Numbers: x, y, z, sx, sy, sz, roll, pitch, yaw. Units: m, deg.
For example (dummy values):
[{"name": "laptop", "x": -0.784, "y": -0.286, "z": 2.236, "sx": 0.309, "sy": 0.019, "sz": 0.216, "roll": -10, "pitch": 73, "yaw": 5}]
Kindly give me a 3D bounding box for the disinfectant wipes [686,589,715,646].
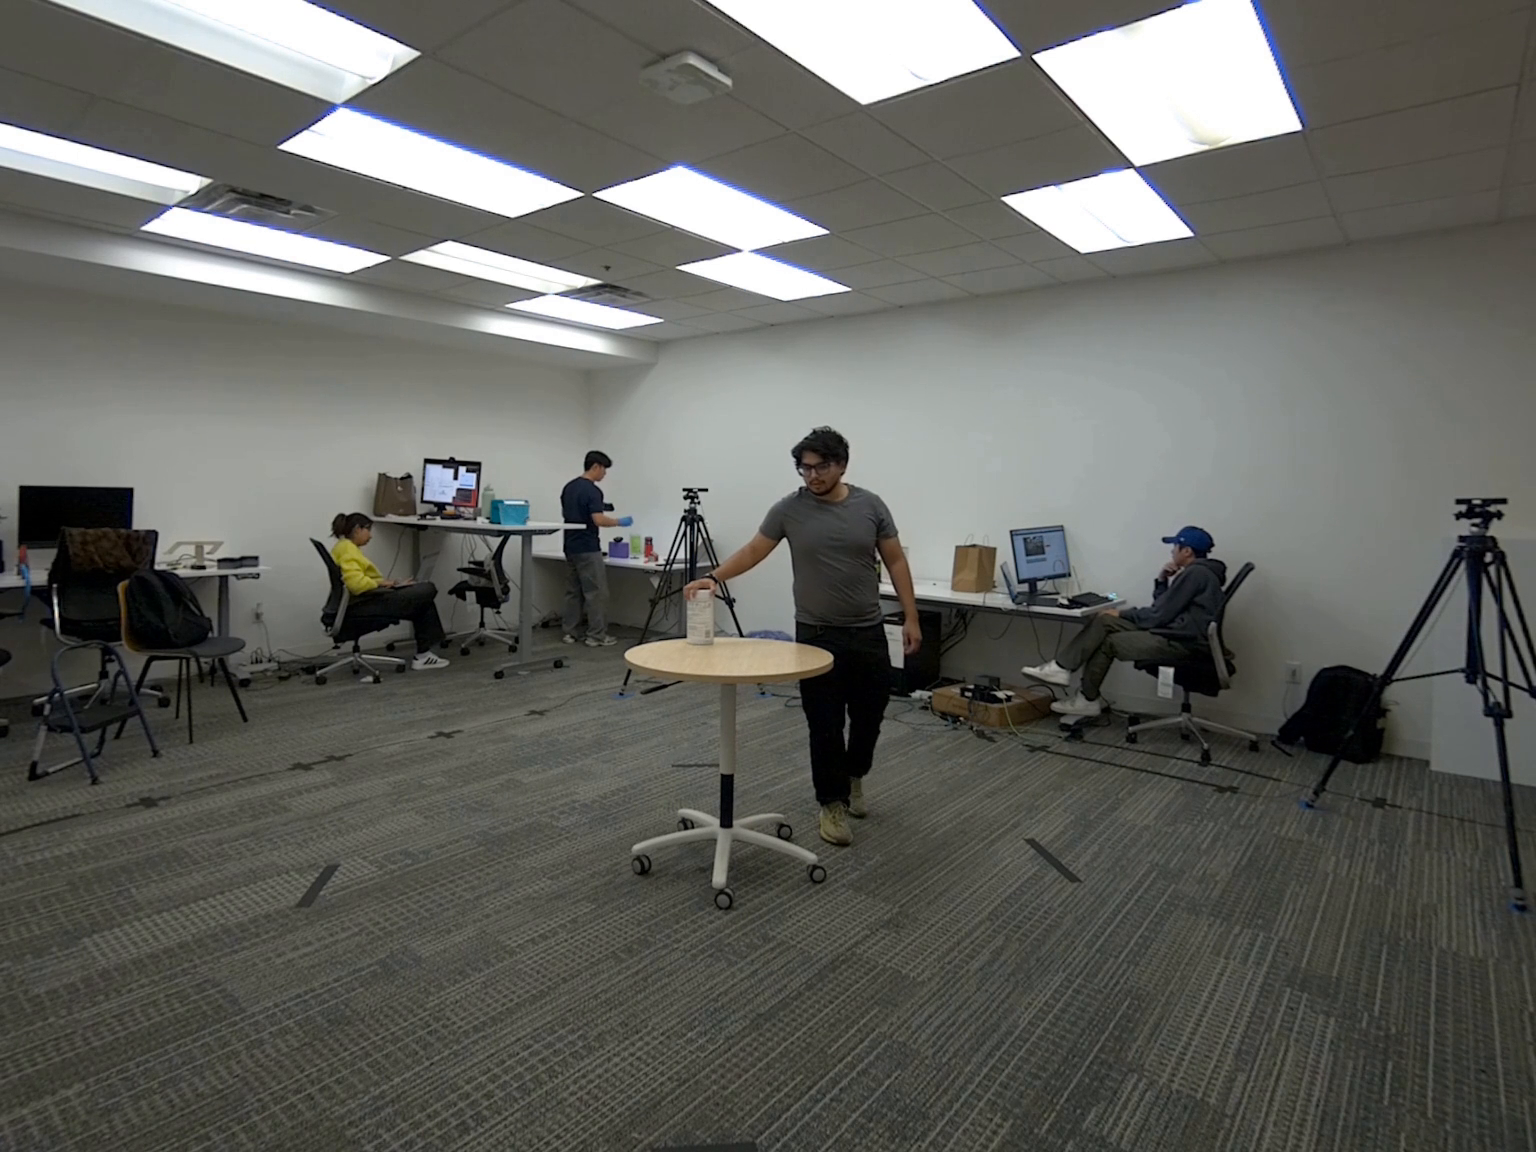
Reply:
[{"name": "disinfectant wipes", "x": -0.276, "y": 0.158, "z": 3.375, "sx": 0.118, "sy": 0.217, "sz": 0.118, "roll": 1, "pitch": 0, "yaw": -2}]
